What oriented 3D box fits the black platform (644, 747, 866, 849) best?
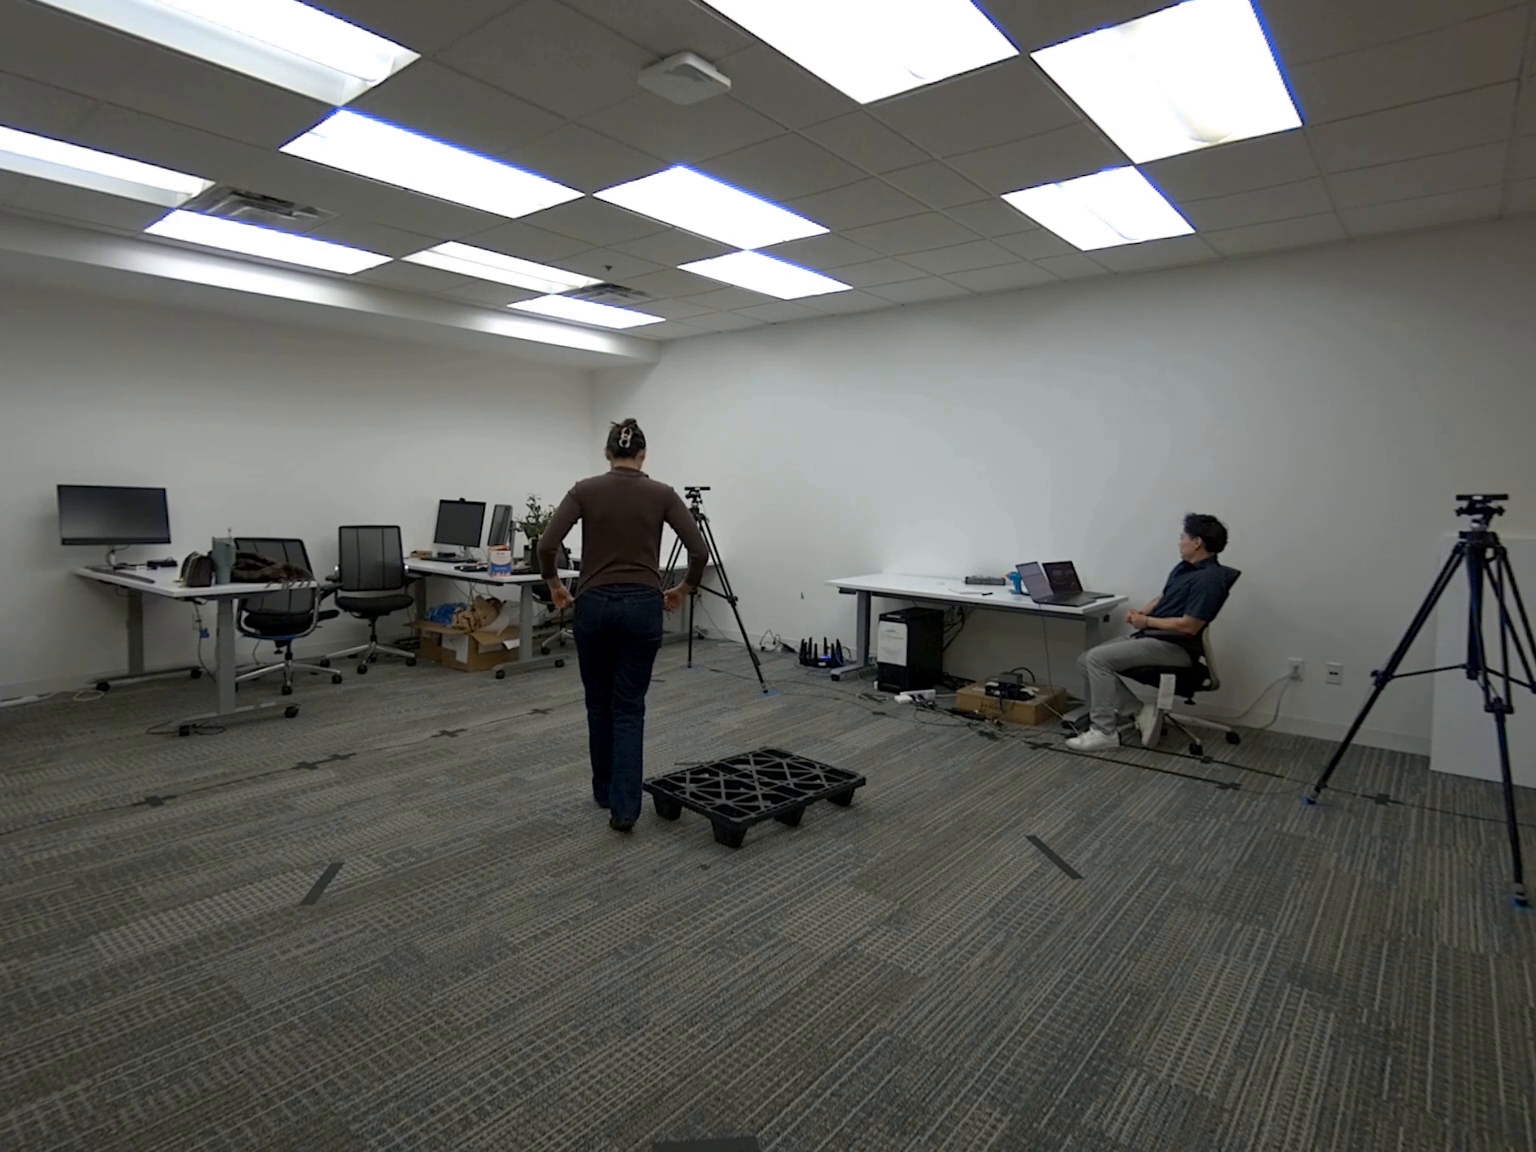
[{"bbox_3d":[-0.057,0.942,3.690,0.782,0.142,0.626,-5,9,-44],"label":"black platform"}]
